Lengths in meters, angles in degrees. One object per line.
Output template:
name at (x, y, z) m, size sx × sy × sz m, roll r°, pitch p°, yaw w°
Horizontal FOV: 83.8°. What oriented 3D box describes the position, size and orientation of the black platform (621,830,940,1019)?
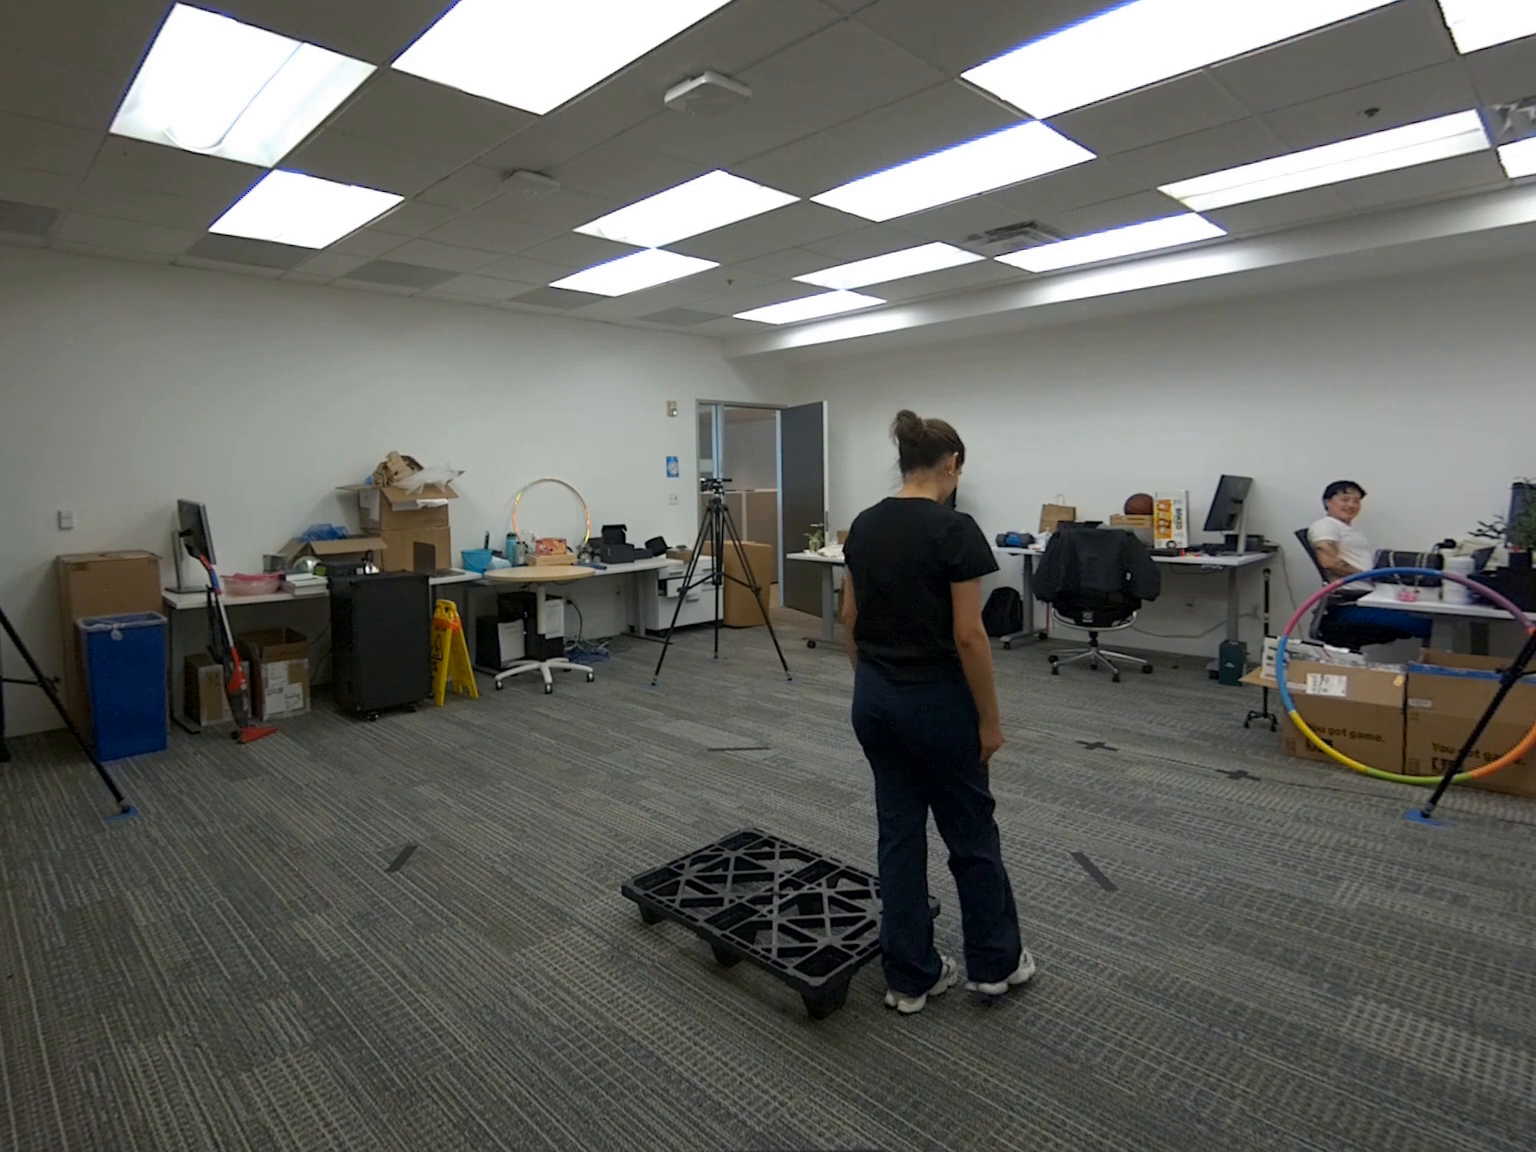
black platform at (0.026, 1.033, 2.639) m, size 0.831 × 0.142 × 0.589 m, roll 6°, pitch 9°, yaw 44°
